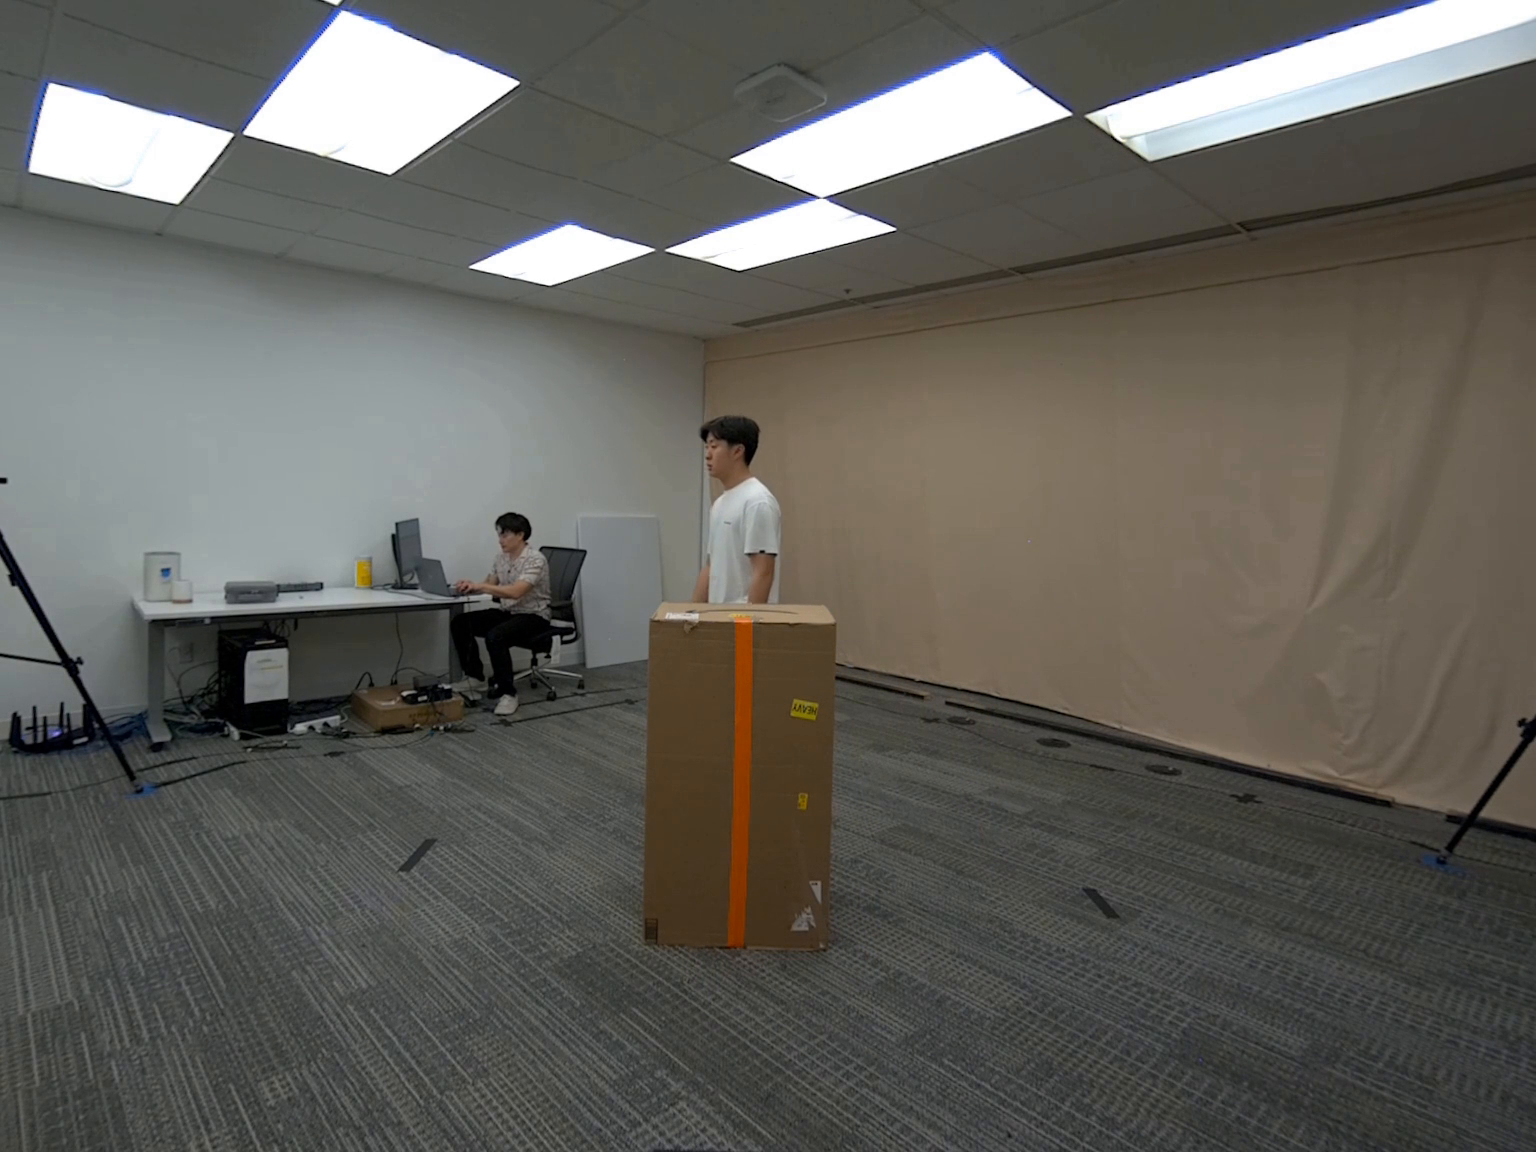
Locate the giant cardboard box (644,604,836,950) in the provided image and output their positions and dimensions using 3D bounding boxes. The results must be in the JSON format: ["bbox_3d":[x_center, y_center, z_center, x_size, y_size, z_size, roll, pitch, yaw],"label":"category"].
[{"bbox_3d":[-0.102,0.627,2.785,0.577,1.023,0.427,1,3,0],"label":"giant cardboard box"}]
